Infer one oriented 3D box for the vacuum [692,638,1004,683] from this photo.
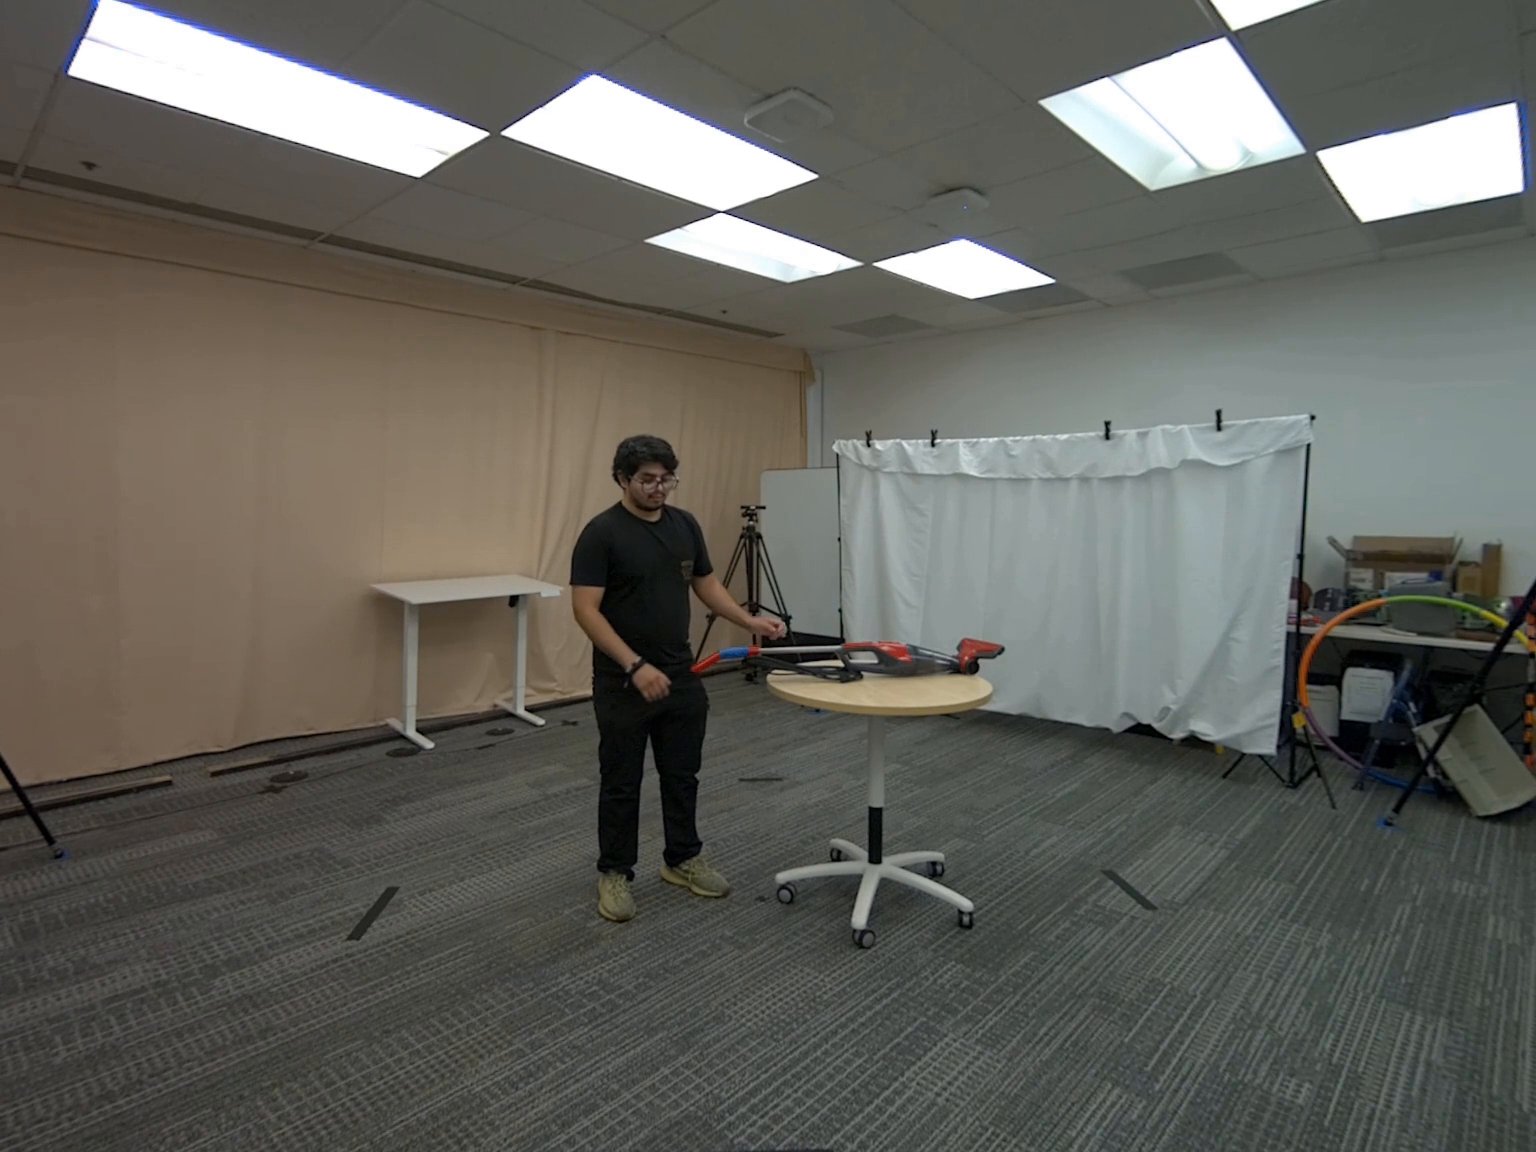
[{"bbox_3d":[0.275,0.306,2.942,1.033,0.143,0.257,-1,5,-15],"label":"vacuum"}]
